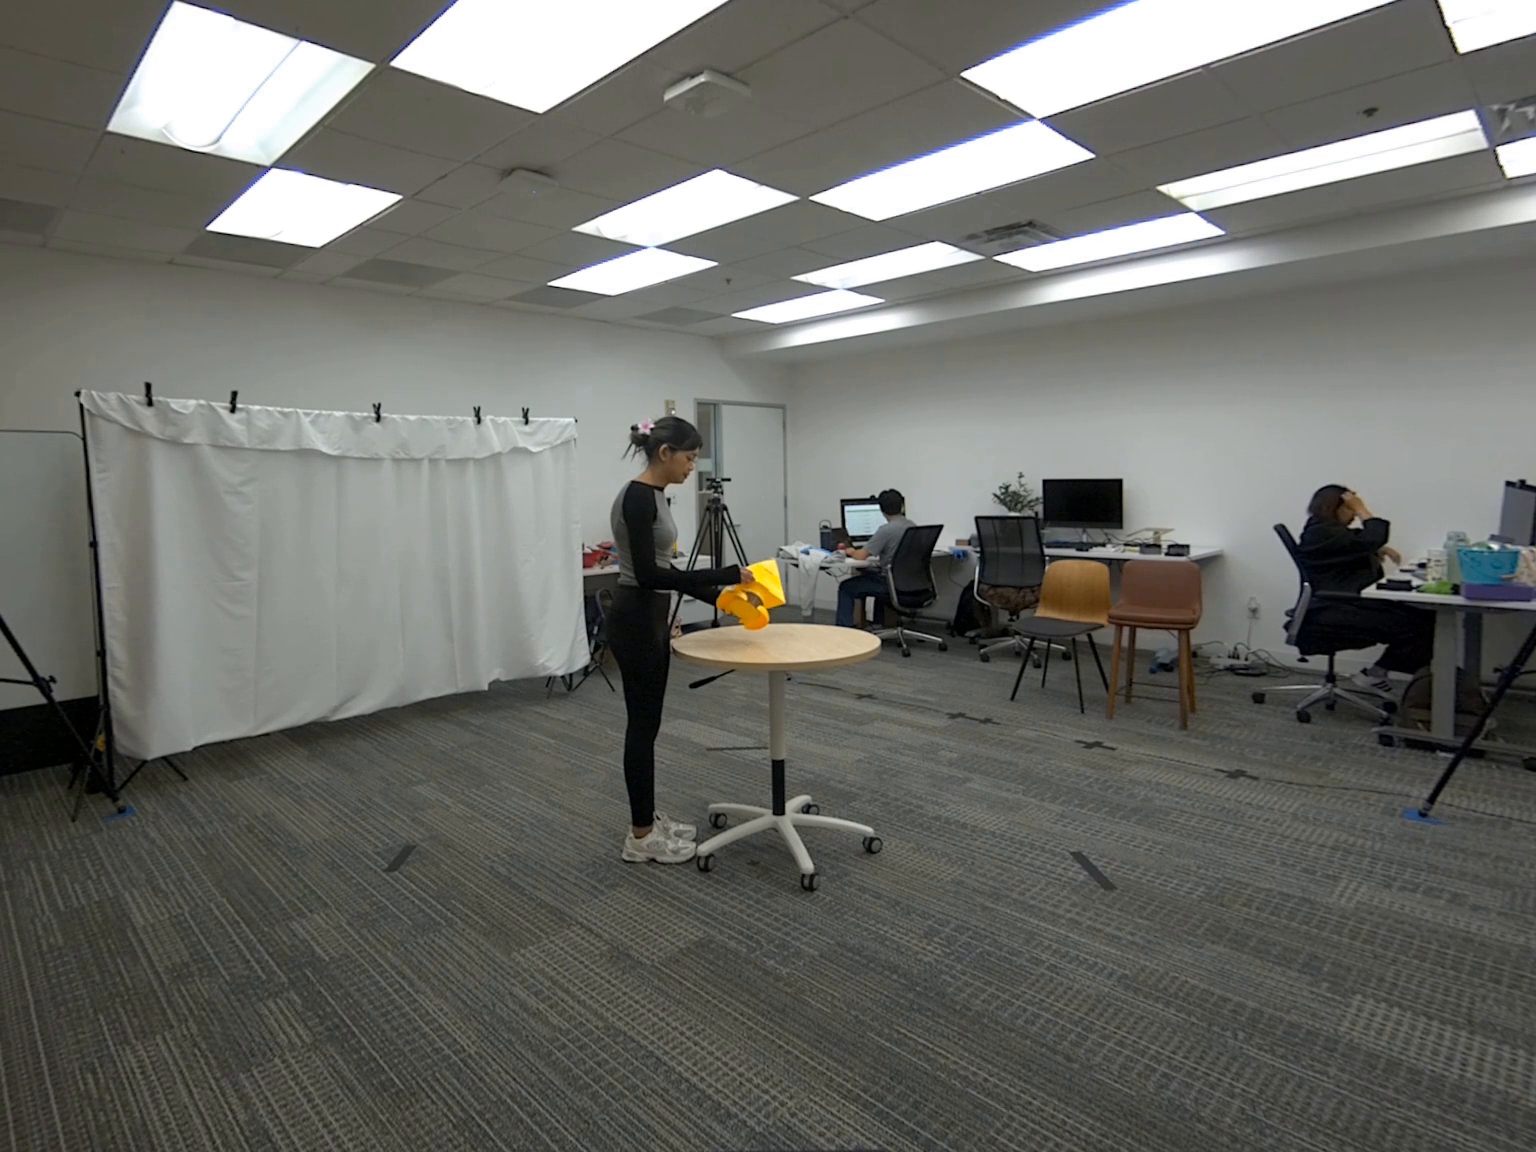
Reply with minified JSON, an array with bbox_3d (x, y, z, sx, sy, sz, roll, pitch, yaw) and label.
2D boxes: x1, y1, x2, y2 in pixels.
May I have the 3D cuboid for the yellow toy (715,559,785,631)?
[{"bbox_3d":[-0.050,0.044,3.182,0.202,0.232,0.194,36,-35,-10],"label":"yellow toy"}]
